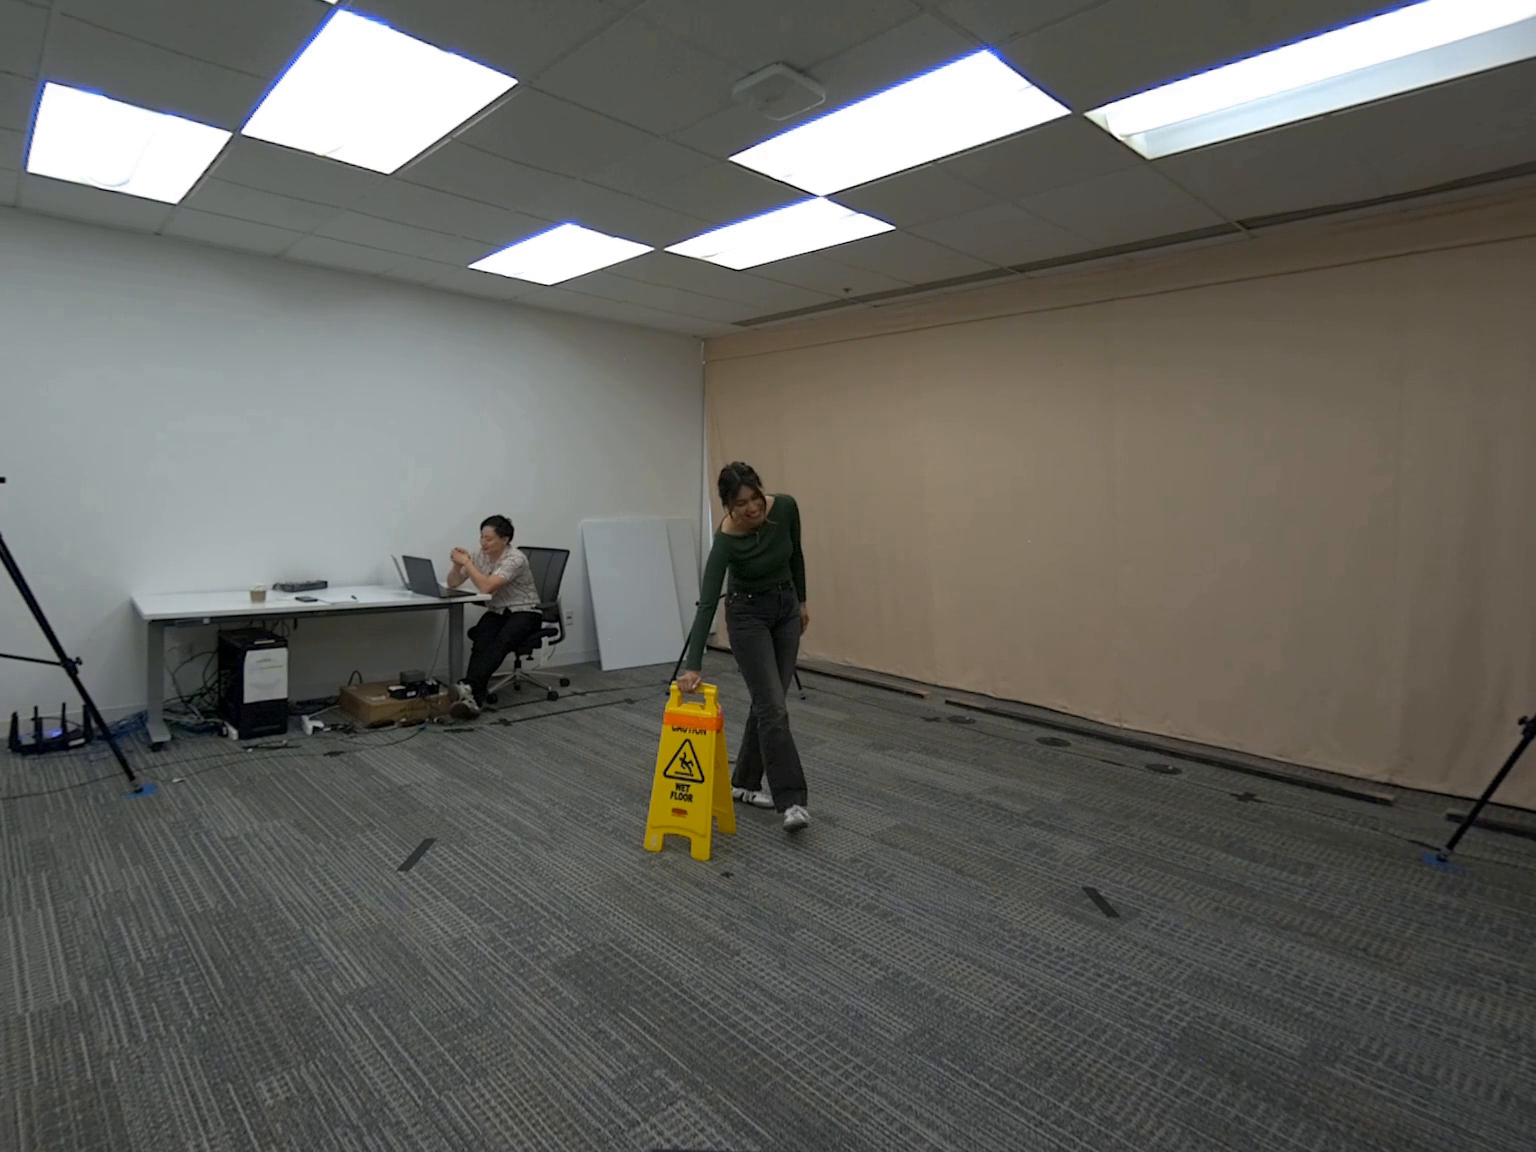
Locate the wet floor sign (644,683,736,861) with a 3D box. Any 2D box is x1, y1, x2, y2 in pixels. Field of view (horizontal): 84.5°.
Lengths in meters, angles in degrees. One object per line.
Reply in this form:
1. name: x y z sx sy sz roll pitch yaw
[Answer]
1. wet floor sign: -0.314 0.750 3.383 0.287 0.644 0.286 1 4 20
